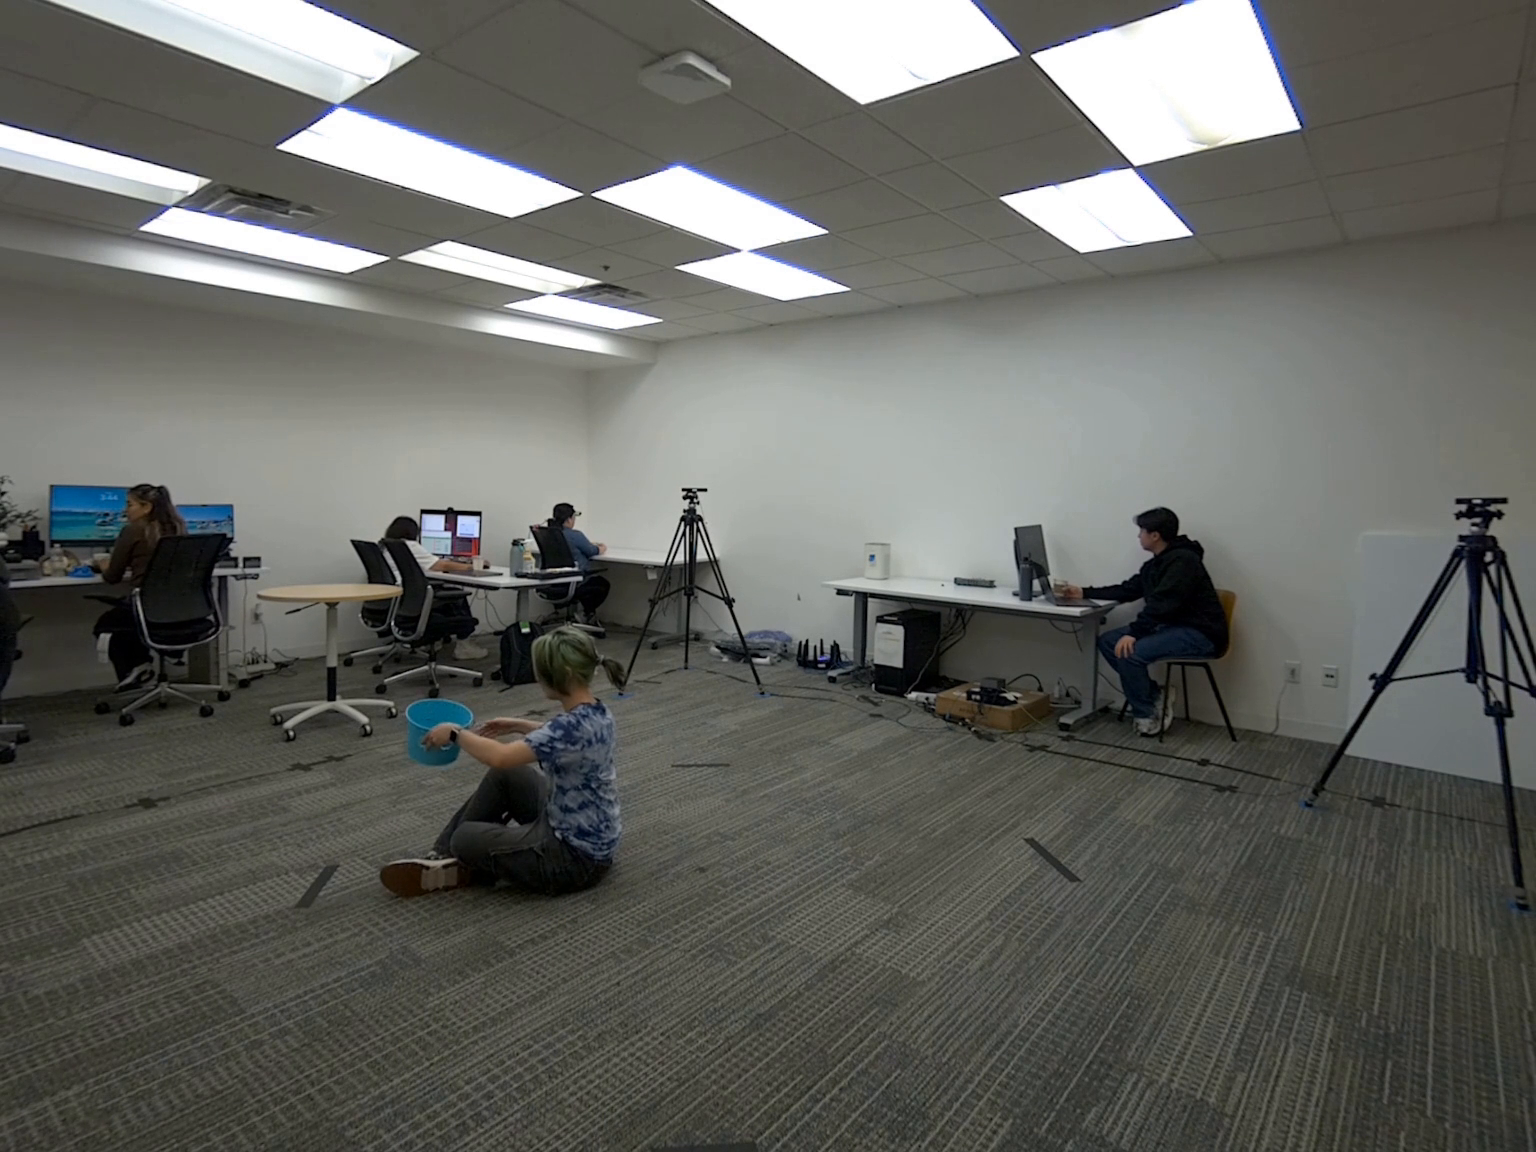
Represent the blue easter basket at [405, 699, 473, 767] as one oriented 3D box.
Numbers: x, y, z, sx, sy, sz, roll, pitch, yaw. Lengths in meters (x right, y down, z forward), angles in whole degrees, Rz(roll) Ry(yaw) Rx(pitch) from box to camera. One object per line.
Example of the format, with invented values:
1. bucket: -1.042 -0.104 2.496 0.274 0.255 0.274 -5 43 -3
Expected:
1. blue easter basket: -1.191 0.565 3.024 0.242 0.154 0.247 12 15 -5
